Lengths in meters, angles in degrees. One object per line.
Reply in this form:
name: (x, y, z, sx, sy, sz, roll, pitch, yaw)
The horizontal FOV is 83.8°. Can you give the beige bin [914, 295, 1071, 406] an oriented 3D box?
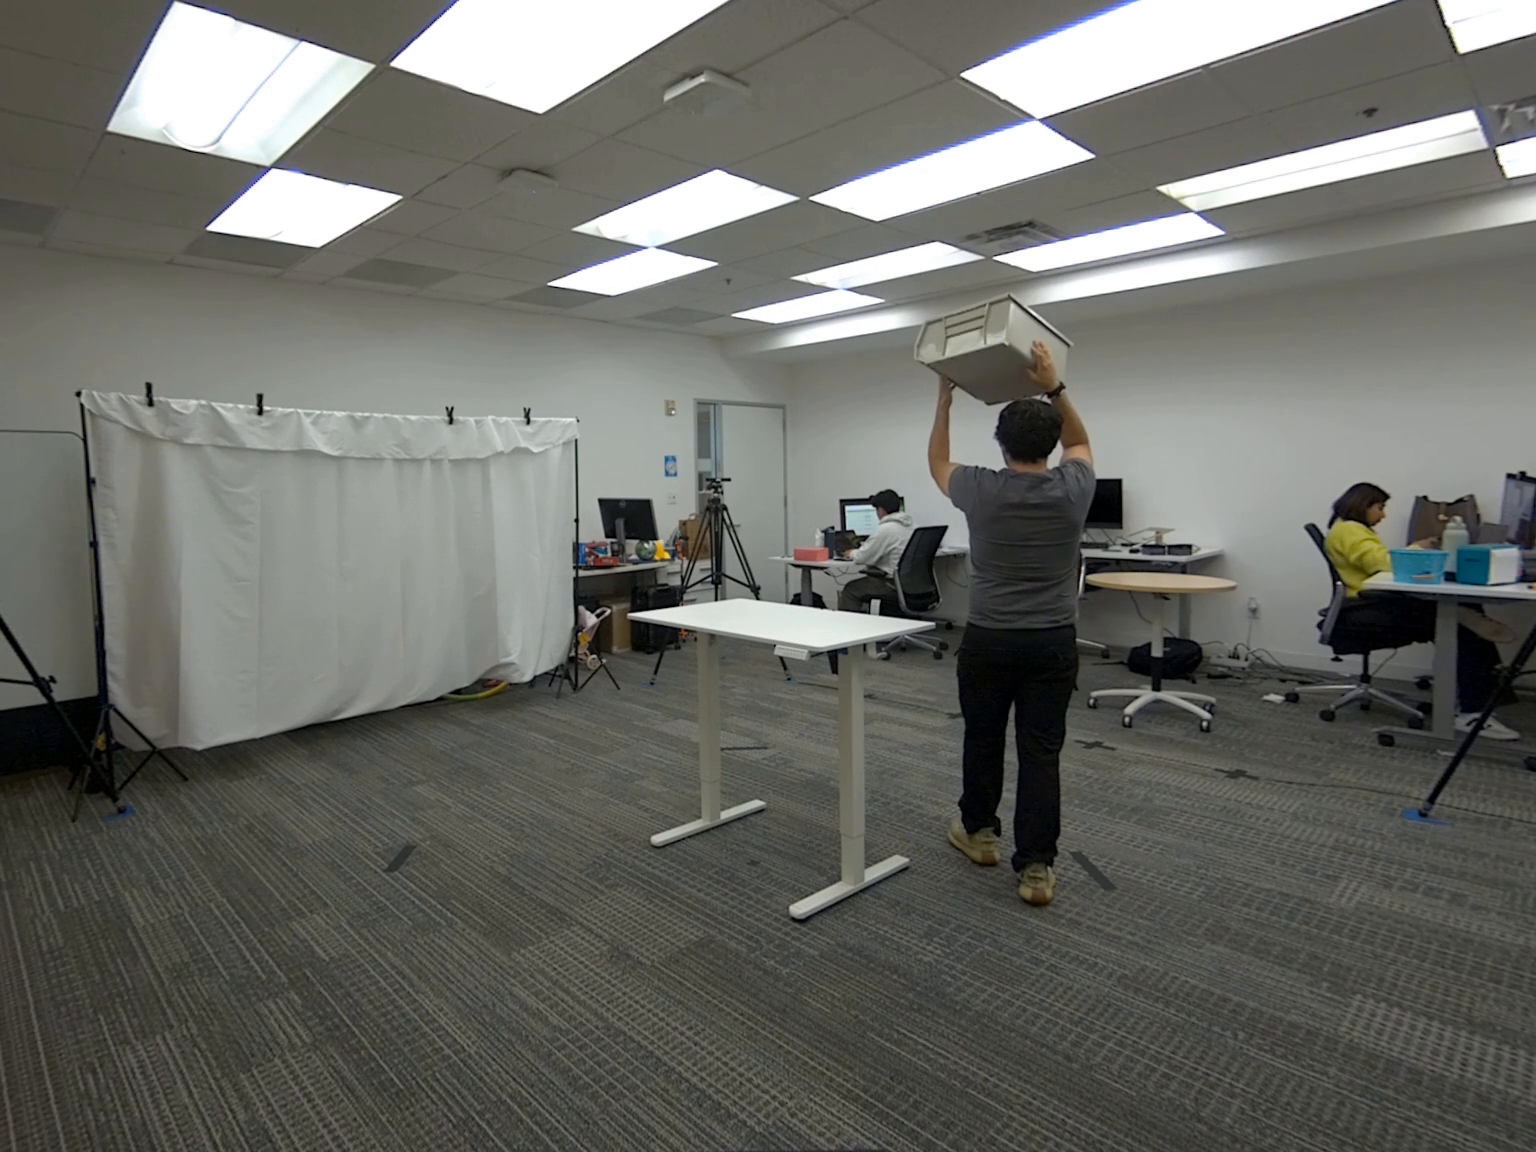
beige bin: (0.810, -0.799, 3.073, 0.407, 0.190, 0.387, 19, -14, -39)
